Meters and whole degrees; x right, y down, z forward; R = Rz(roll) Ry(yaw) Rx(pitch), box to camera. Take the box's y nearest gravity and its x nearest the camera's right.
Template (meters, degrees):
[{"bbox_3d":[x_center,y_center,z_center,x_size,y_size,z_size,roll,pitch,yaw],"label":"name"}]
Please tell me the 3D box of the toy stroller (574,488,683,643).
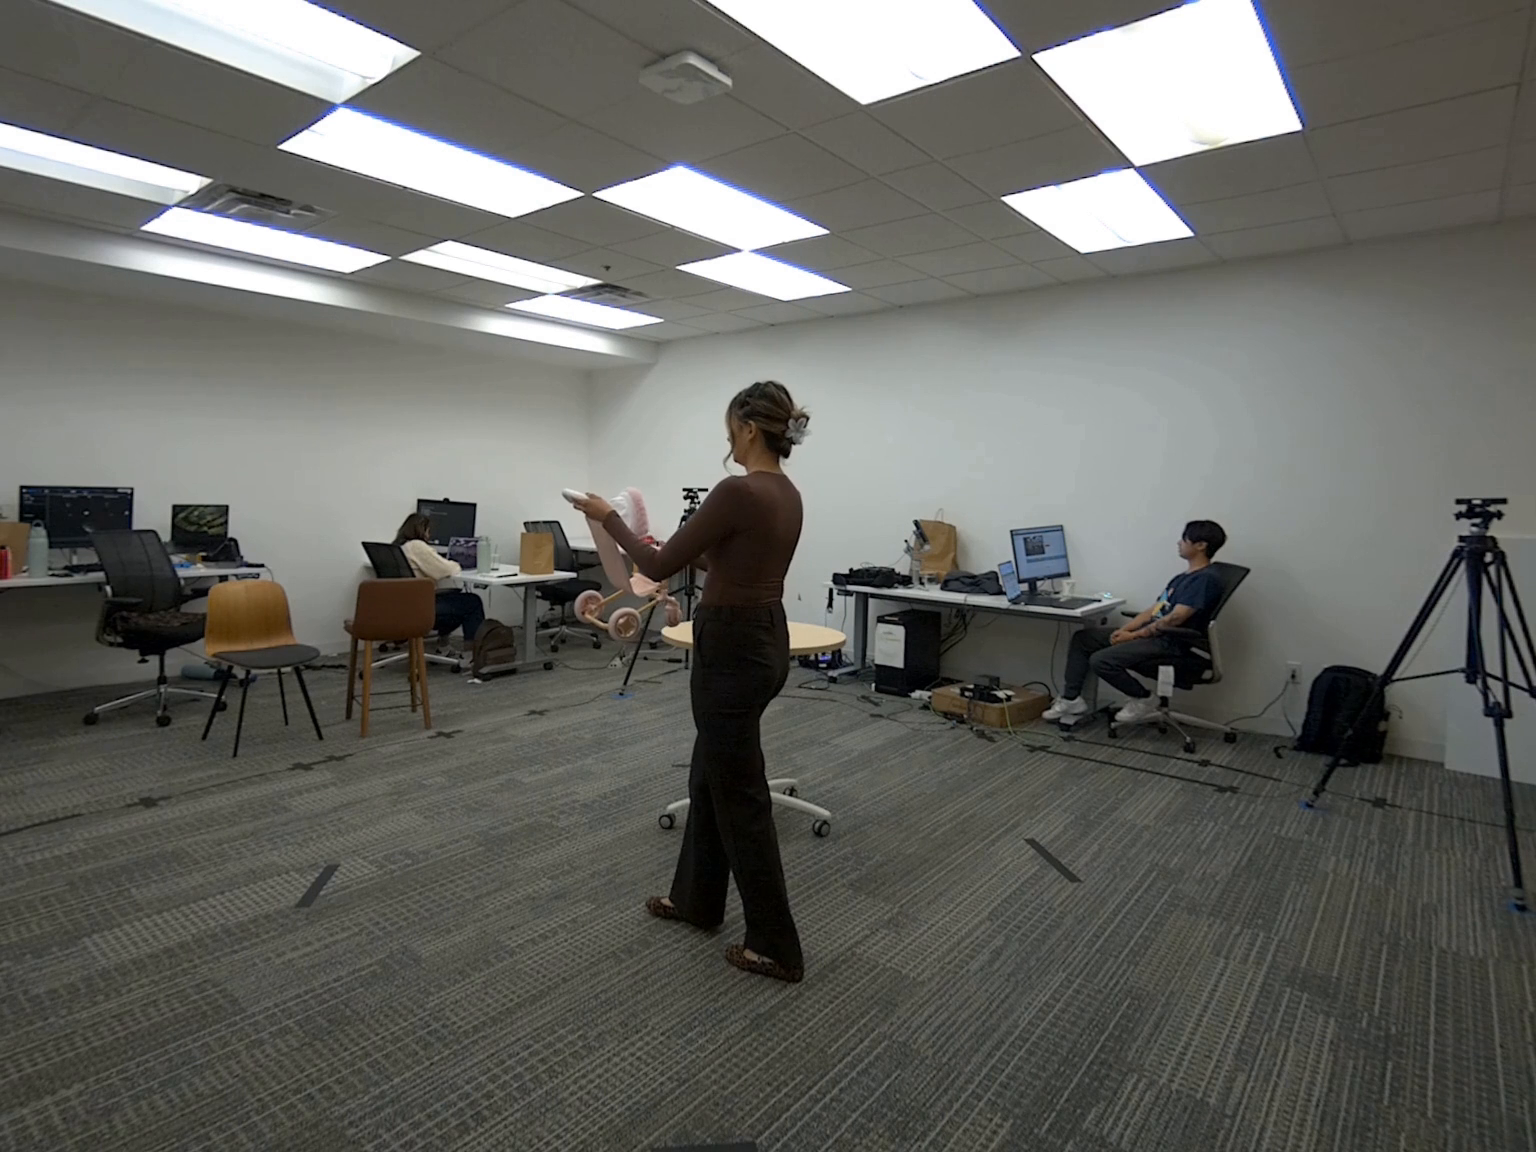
[{"bbox_3d":[-0.454,-0.050,2.760,0.335,0.526,0.291,-15,18,-29],"label":"toy stroller"}]
